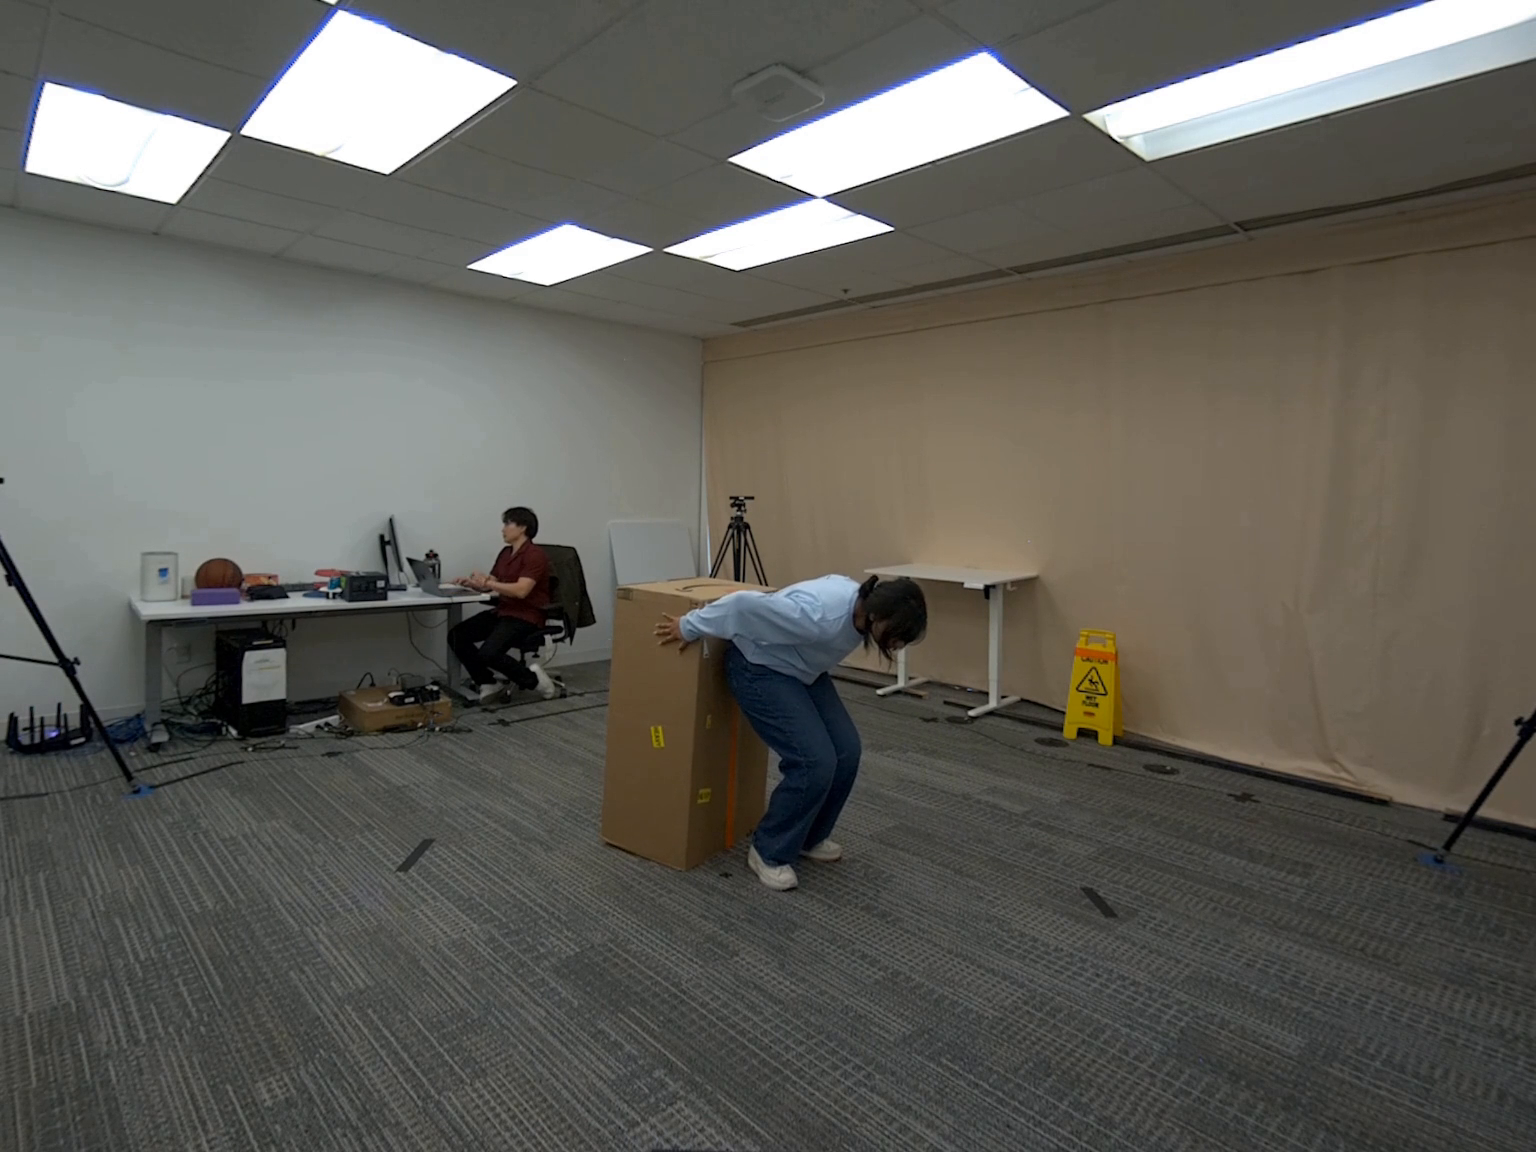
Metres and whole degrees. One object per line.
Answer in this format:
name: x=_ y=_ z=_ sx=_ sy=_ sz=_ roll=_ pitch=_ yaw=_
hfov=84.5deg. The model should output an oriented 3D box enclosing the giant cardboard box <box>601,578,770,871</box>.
giant cardboard box: x=-0.314 y=0.558 z=3.446 sx=0.436 sy=1.023 sz=0.565 roll=7 pitch=5 yaw=32
